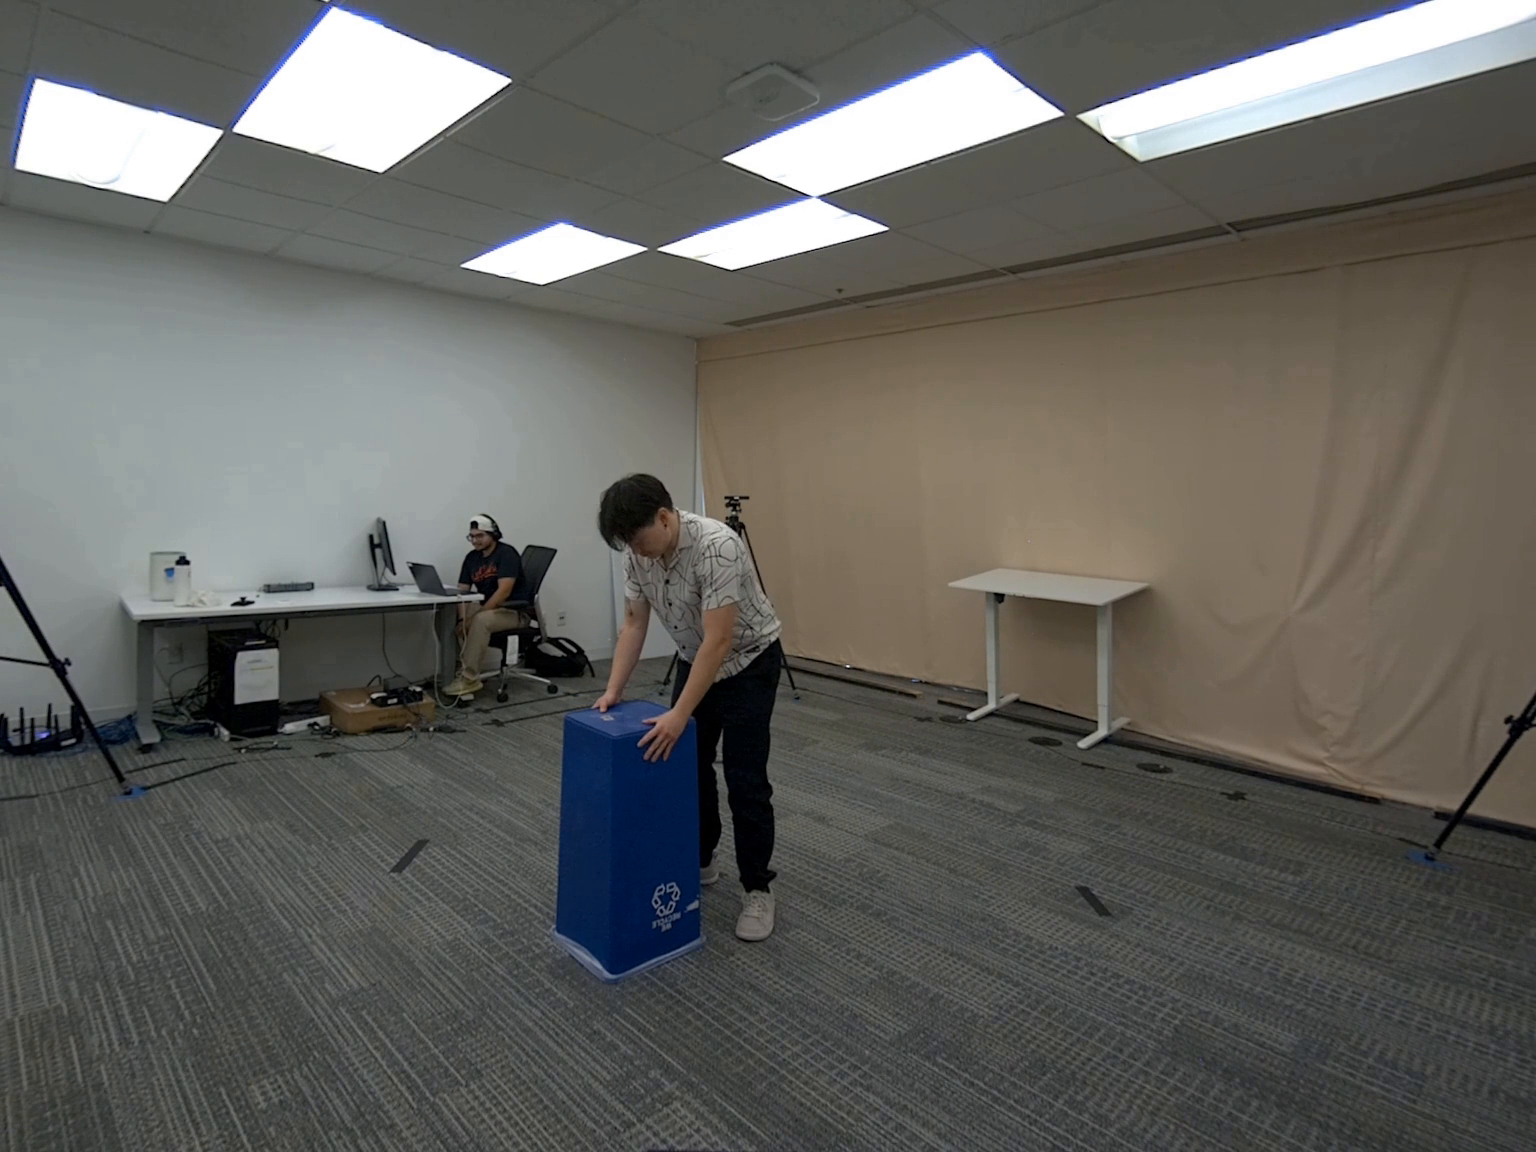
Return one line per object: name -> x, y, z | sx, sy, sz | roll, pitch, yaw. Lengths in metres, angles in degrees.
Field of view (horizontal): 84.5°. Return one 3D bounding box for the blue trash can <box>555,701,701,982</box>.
blue trash can -> -0.439, 0.785, 2.604 | 0.369, 0.711, 0.384 | -3, 6, -42
